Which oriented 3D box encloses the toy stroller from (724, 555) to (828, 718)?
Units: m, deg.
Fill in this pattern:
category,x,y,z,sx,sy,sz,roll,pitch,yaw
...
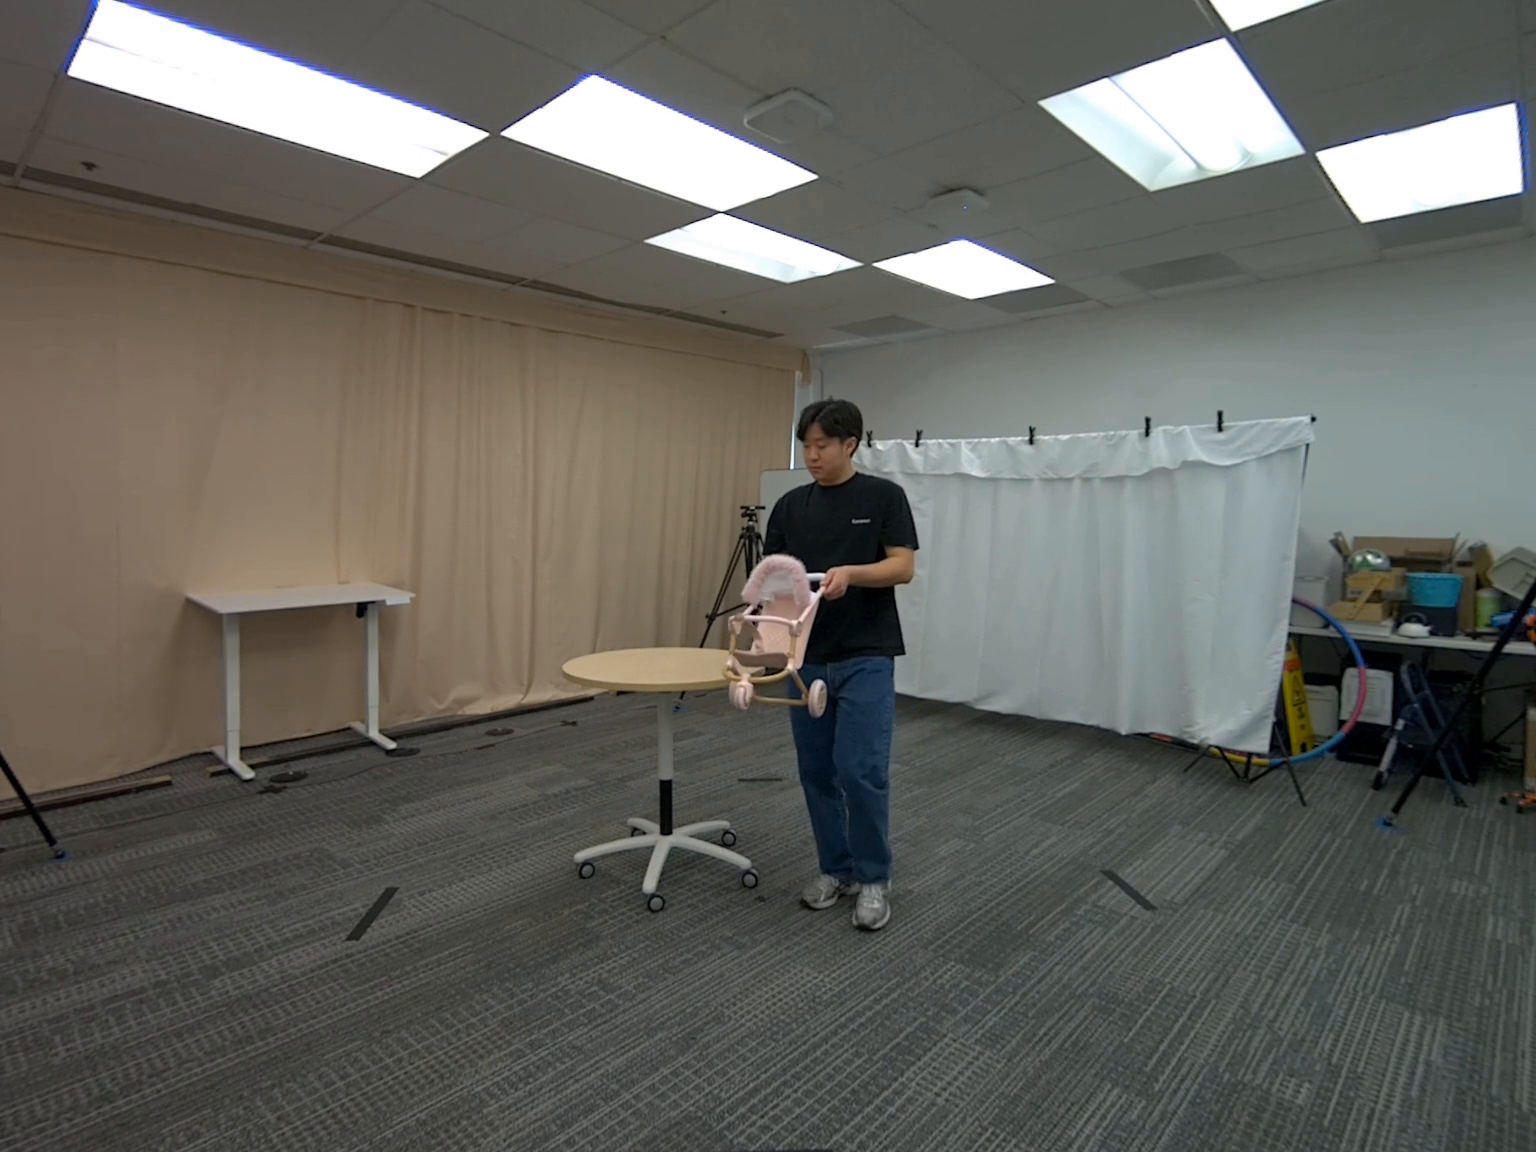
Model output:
category,x,y,z,sx,sy,sz,roll,pitch,yaw
toy stroller,0.015,0.179,2.491,0.289,0.539,0.329,-2,-26,29
